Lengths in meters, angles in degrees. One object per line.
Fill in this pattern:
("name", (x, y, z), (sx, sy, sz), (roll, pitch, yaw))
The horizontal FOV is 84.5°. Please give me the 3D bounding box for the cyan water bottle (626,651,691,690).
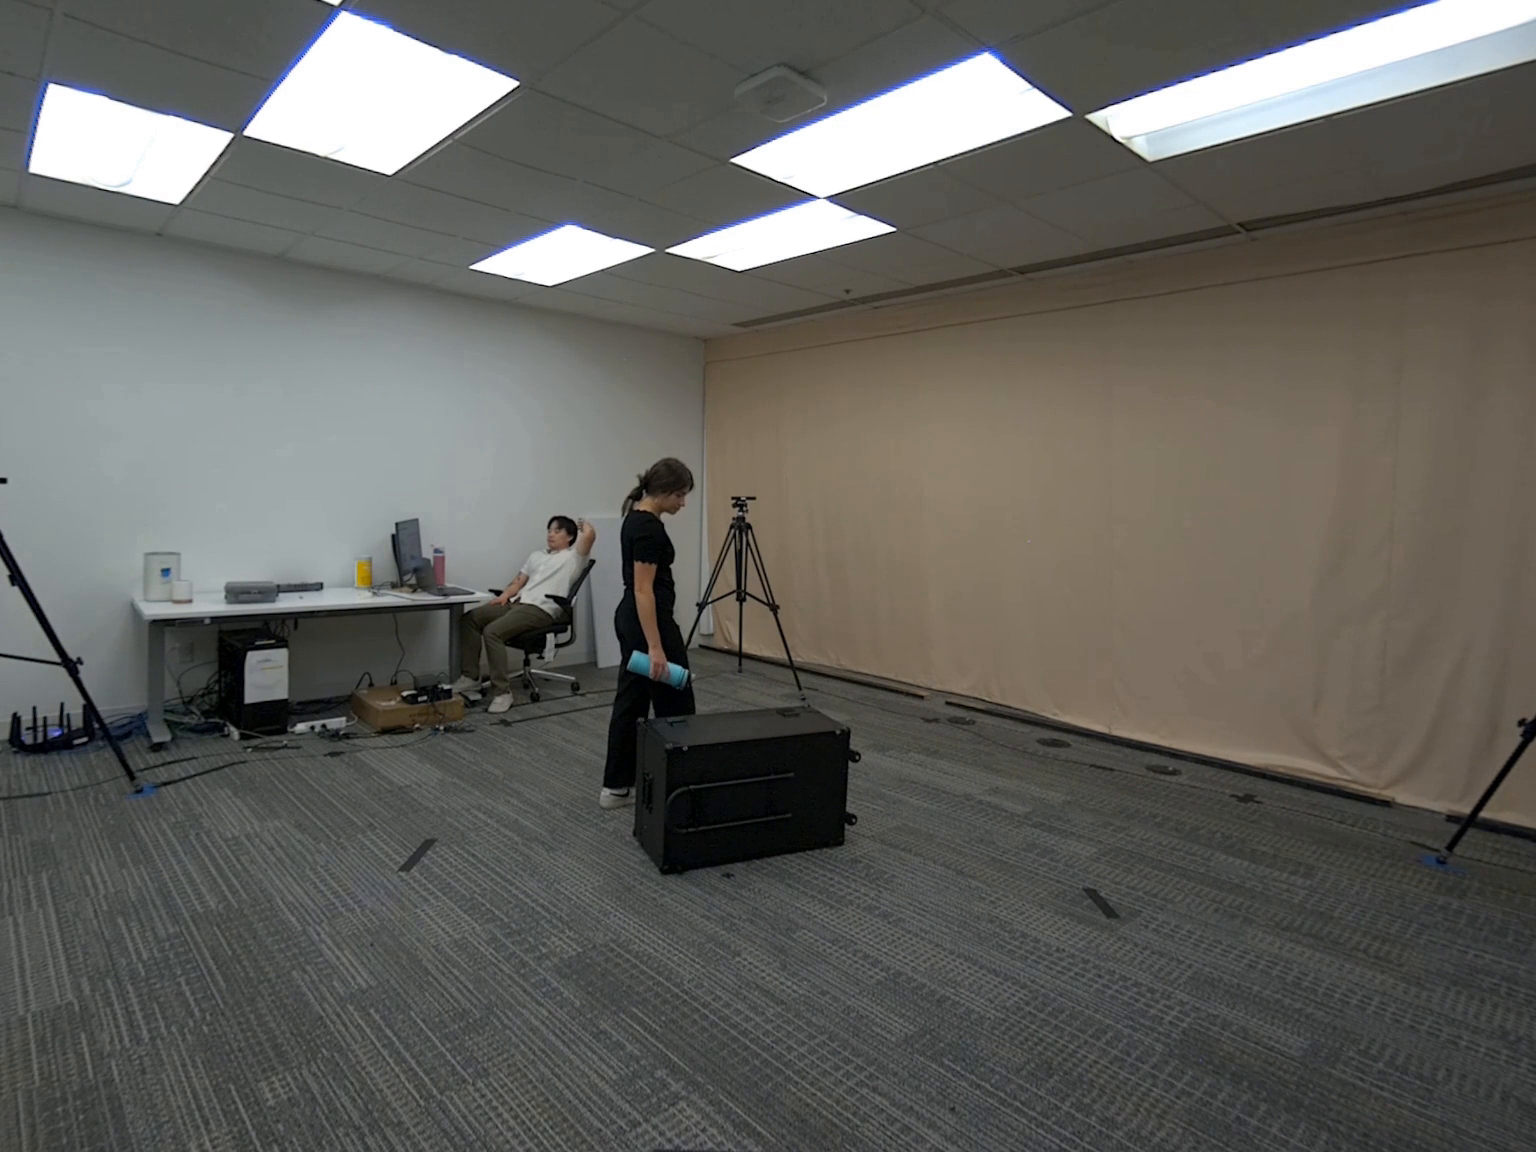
("cyan water bottle", (-0.466, 0.410, 3.600), (0.282, 0.092, 0.093), (20, 2, -6))
